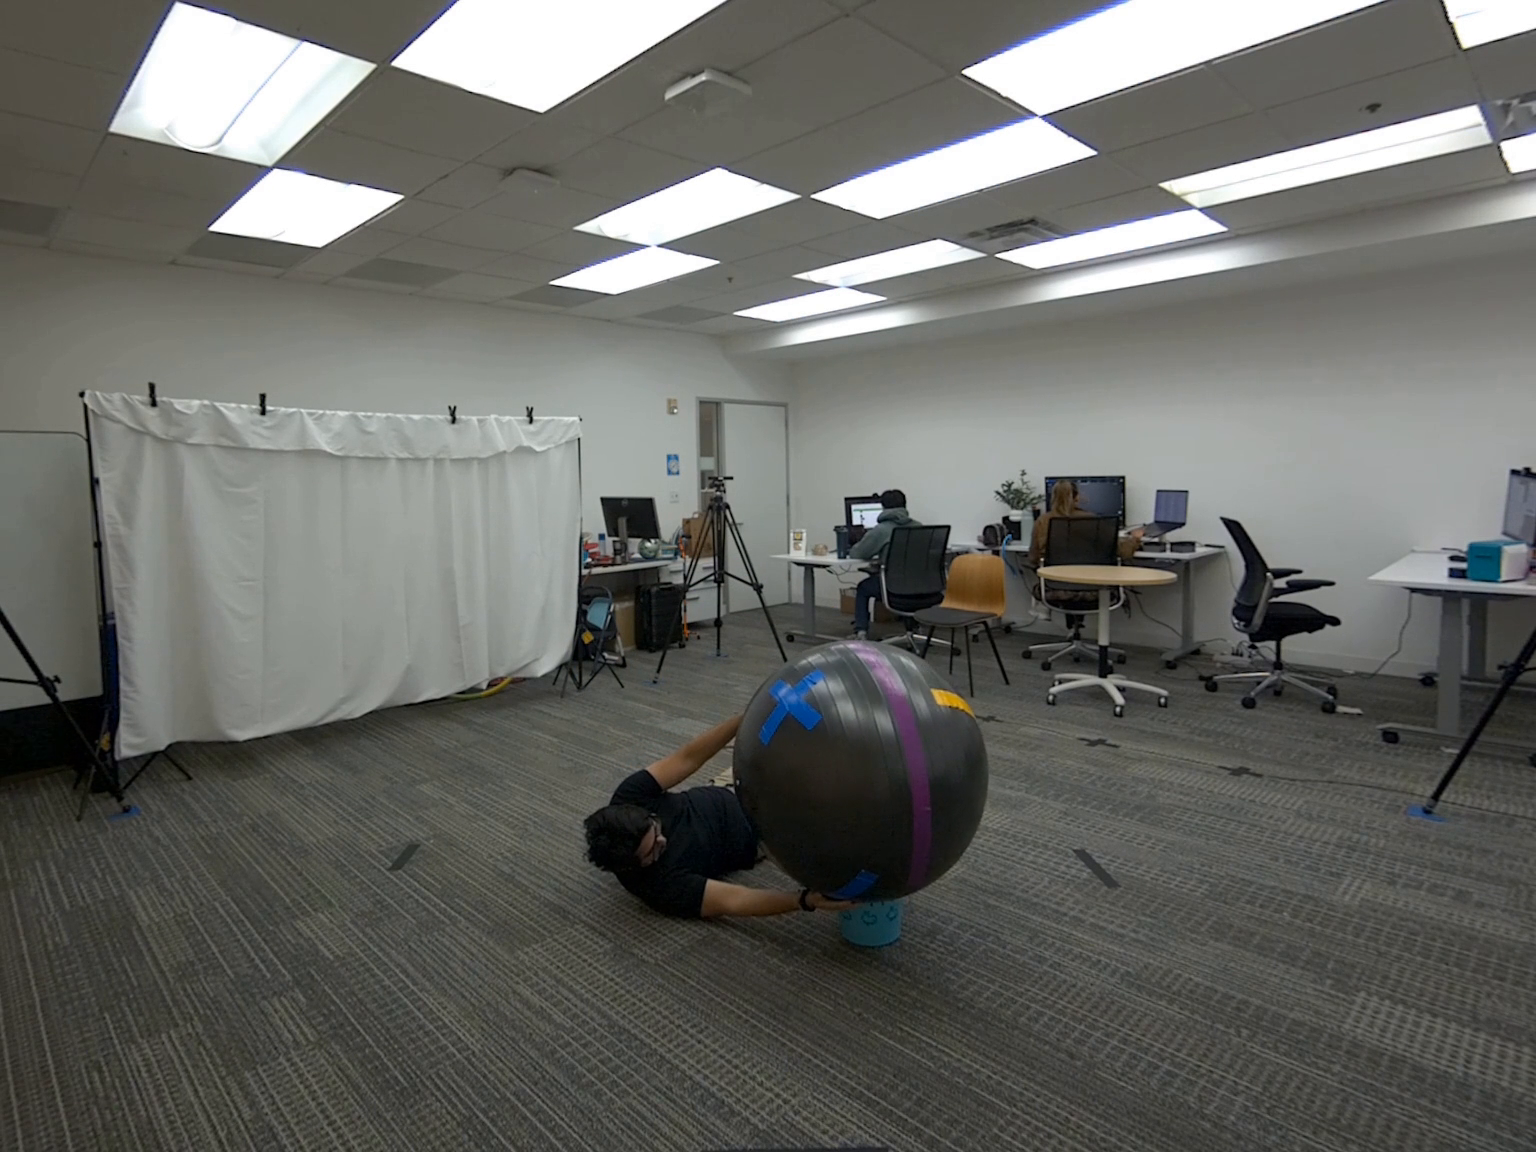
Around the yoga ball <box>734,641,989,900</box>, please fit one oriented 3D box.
[{"bbox_3d":[0.279,0.584,2.583,0.757,0.755,0.761,-1,4,-2],"label":"yoga ball"}]
